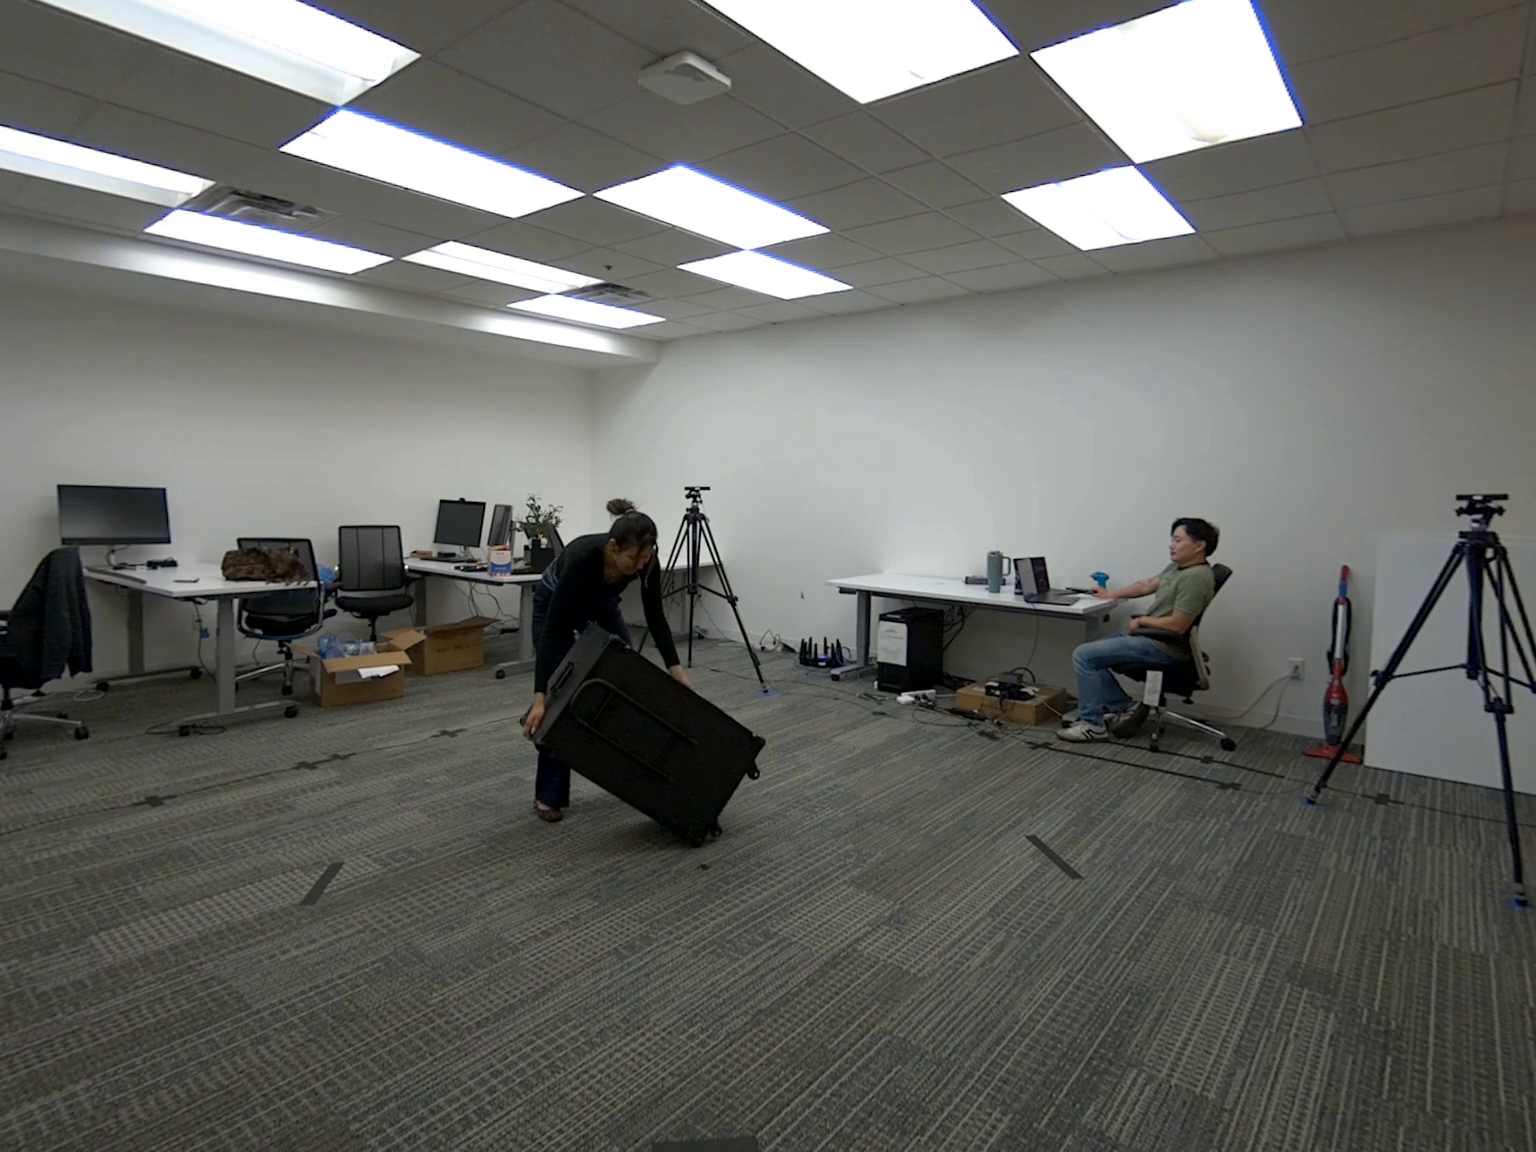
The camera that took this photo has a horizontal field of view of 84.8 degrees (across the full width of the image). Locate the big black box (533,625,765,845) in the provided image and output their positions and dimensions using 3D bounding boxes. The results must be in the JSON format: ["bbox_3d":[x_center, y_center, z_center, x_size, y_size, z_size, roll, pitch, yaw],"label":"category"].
[{"bbox_3d":[-0.473,0.635,3.357,0.837,0.522,0.407,38,-11,-22],"label":"big black box"}]
